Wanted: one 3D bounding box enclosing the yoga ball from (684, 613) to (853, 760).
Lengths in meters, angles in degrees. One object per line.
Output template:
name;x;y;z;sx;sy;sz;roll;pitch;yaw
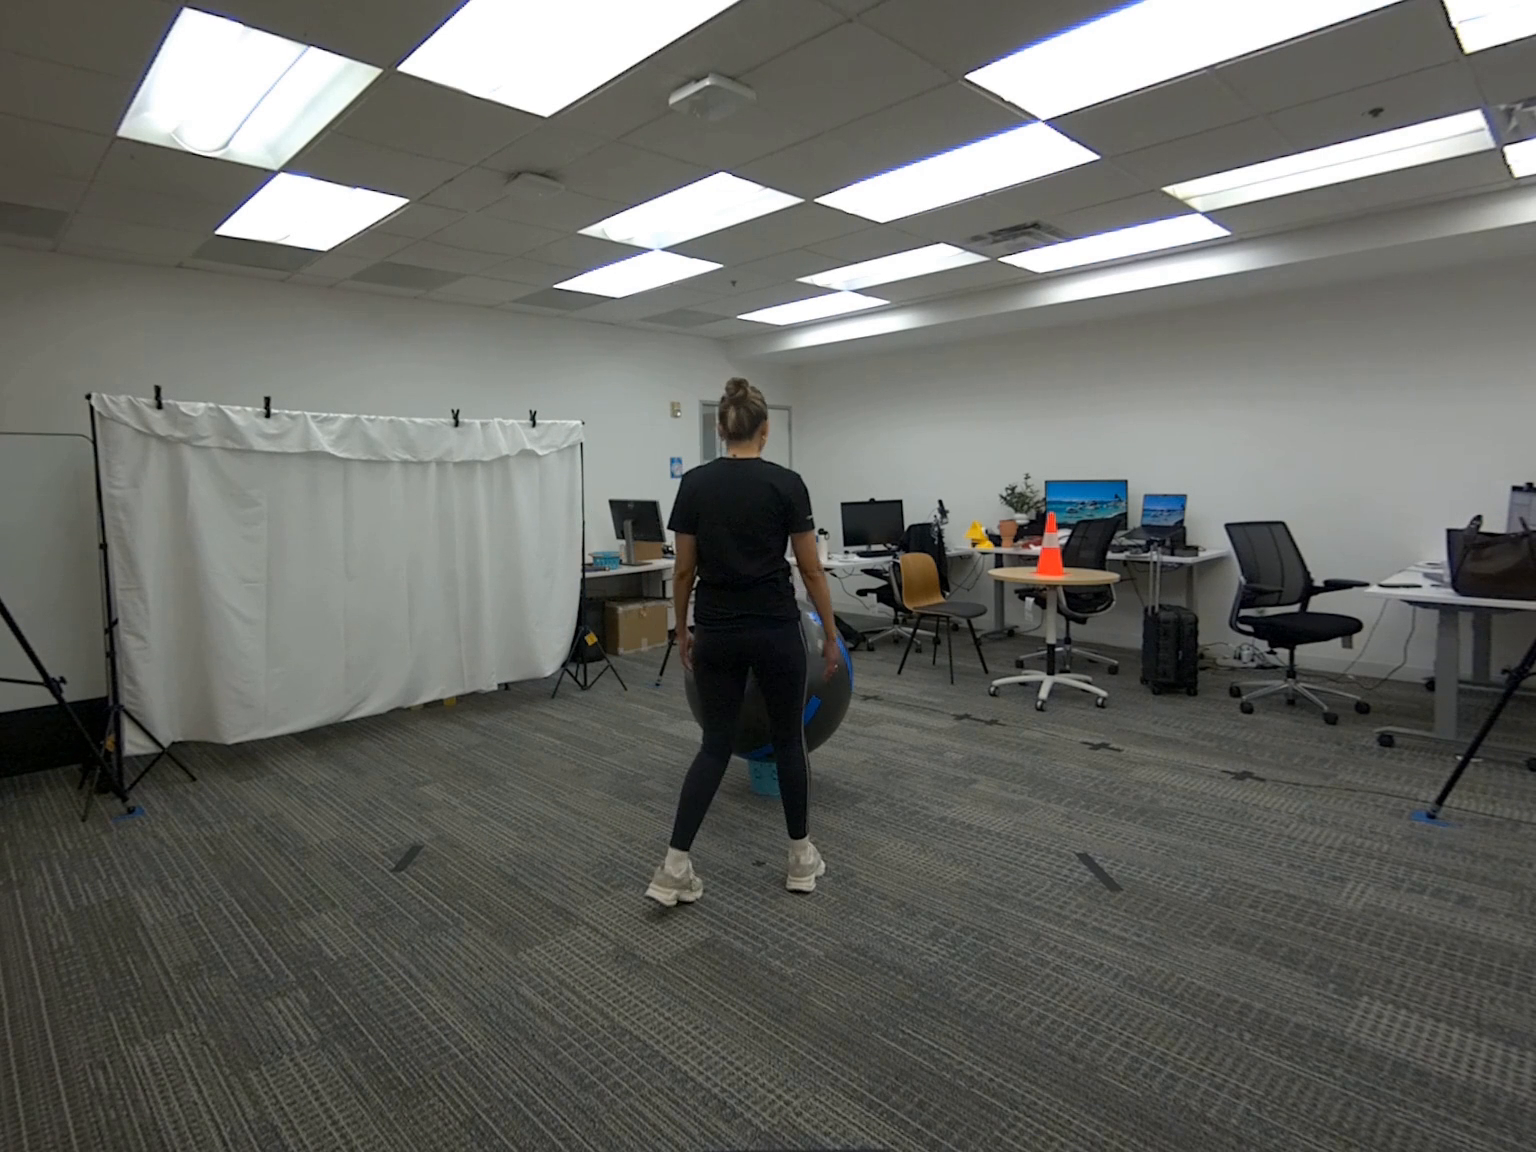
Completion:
yoga ball;0.001;0.454;3.854;0.757;0.755;0.762;-1;5;-2
